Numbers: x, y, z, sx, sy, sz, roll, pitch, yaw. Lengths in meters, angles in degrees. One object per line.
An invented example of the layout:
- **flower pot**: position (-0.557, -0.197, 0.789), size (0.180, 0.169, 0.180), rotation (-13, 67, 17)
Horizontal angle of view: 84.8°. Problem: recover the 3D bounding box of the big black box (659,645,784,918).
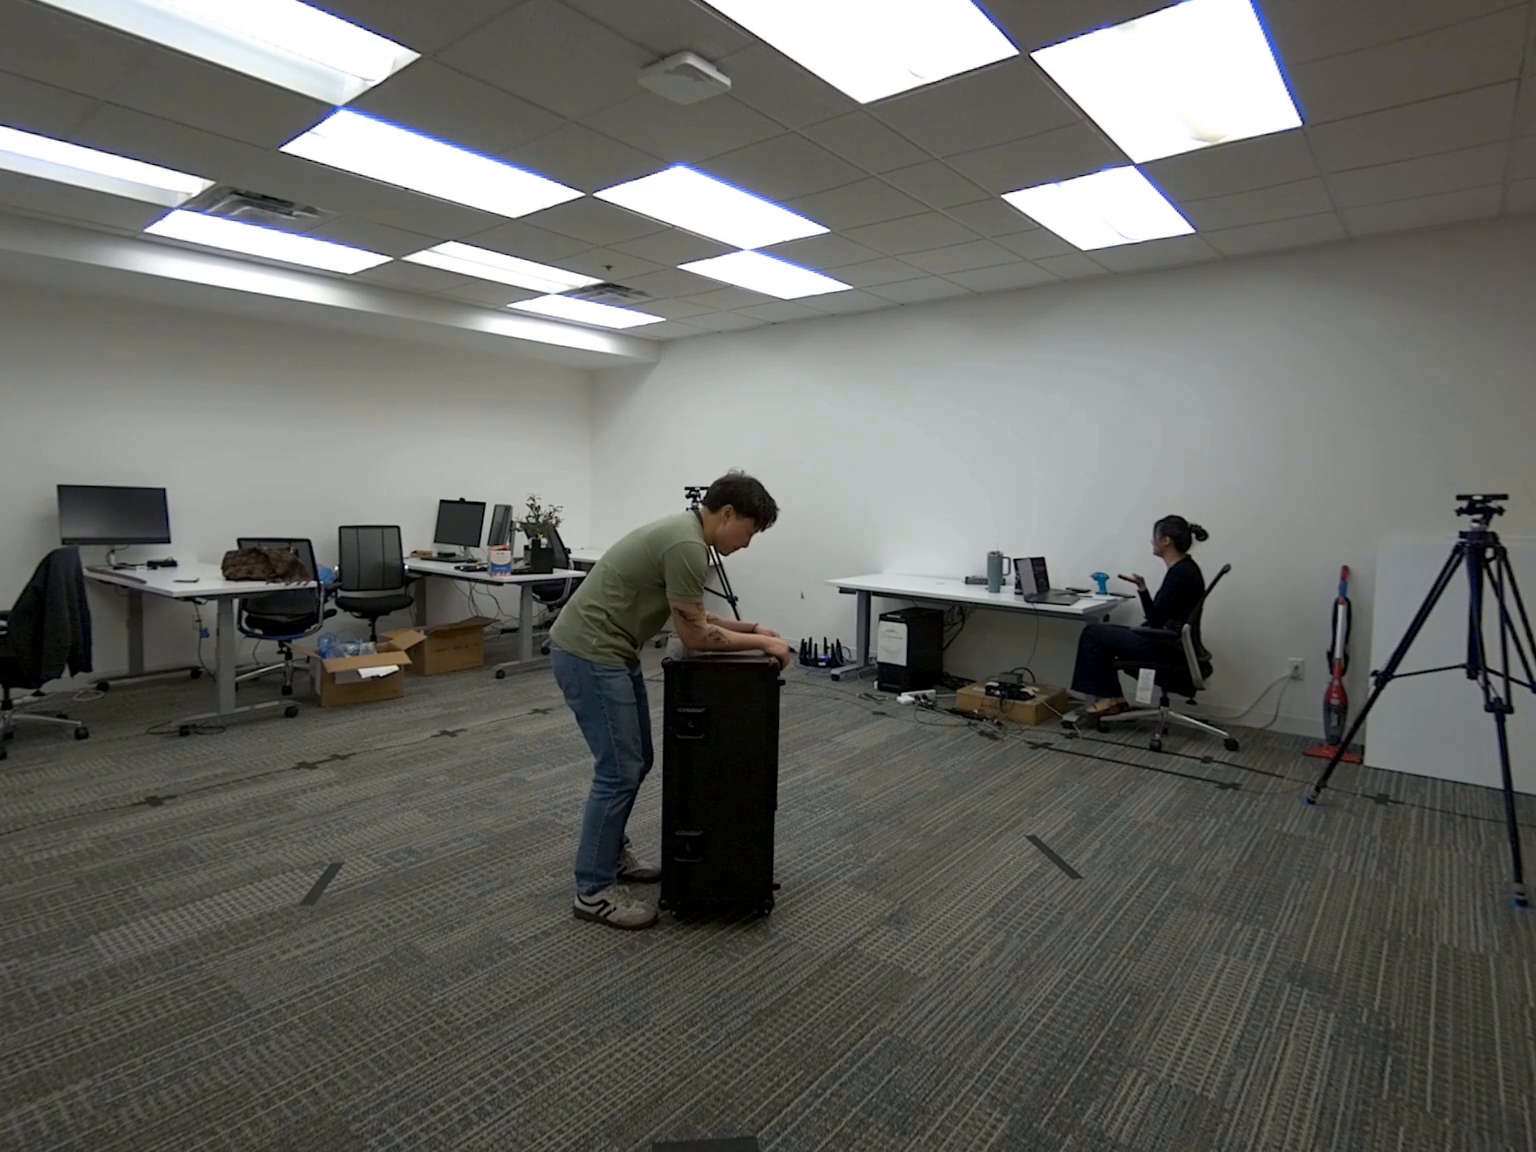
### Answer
- **big black box**: position (-0.164, 0.673, 2.877), size (0.395, 0.859, 0.524), rotation (1, 3, -4)
